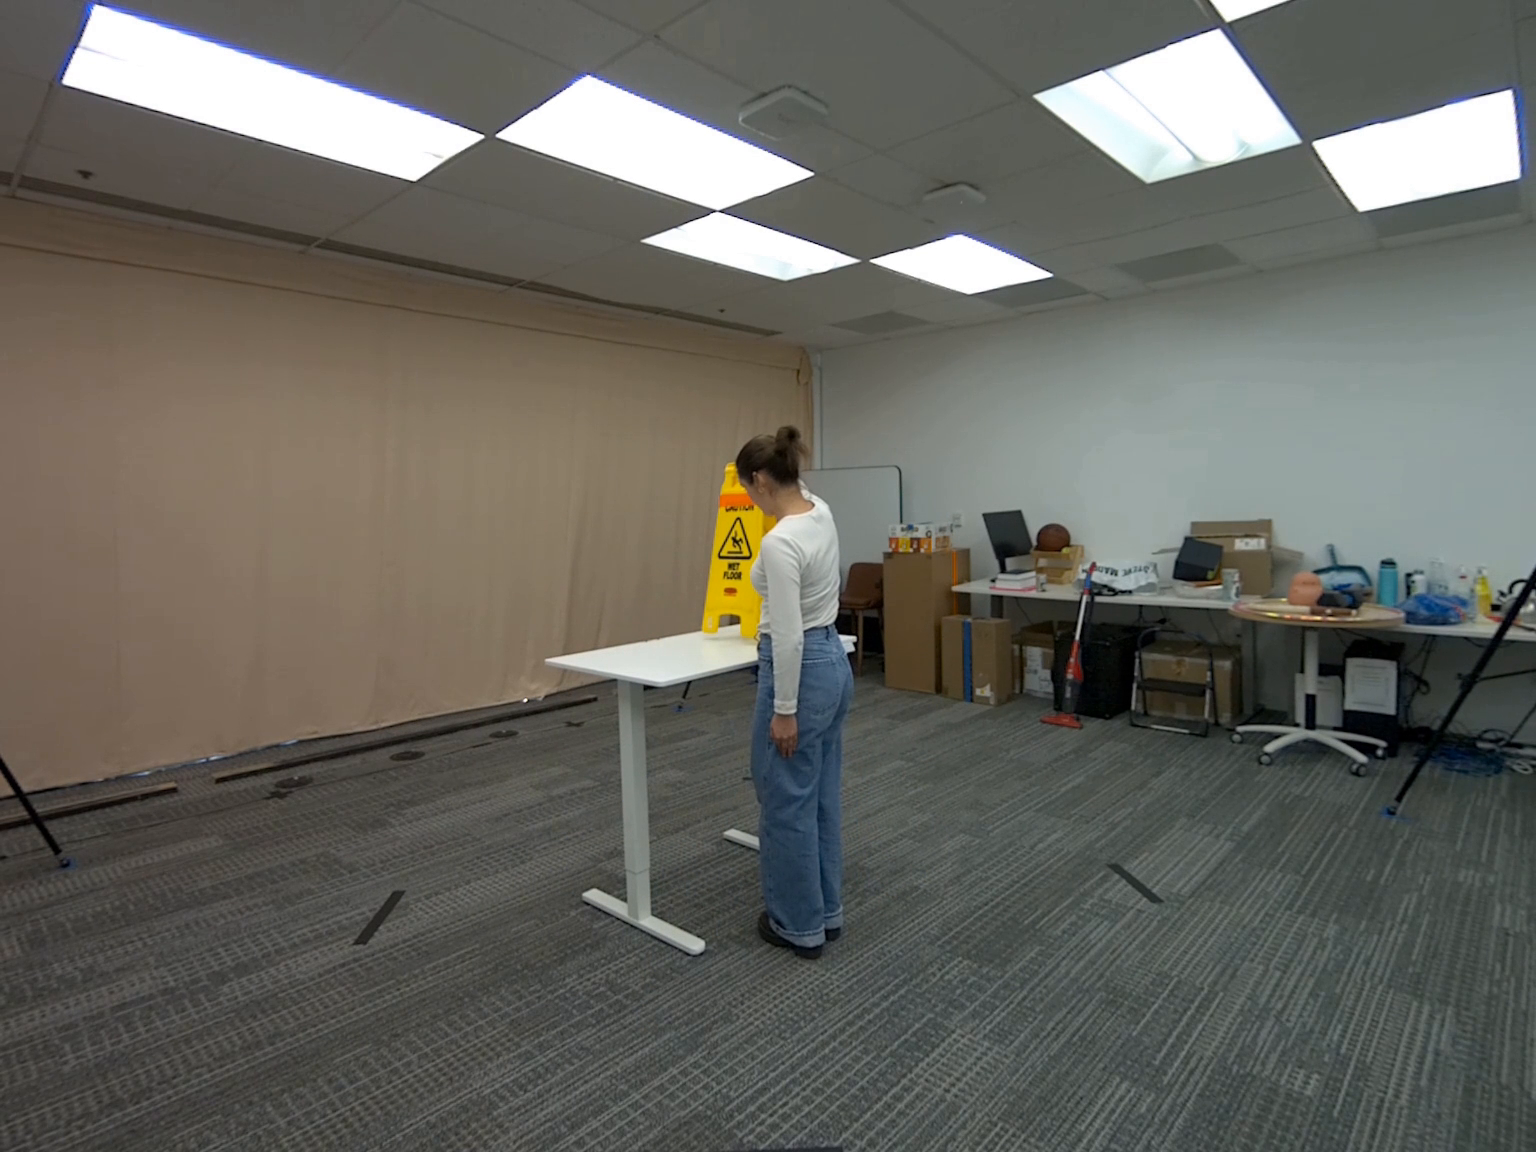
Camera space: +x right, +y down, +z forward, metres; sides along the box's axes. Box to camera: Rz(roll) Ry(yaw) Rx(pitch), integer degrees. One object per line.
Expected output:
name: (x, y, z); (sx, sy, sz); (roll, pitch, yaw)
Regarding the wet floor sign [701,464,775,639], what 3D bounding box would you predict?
wet floor sign: (-0.068, -0.114, 3.220); (0.291, 0.645, 0.281); (0, 2, 43)
